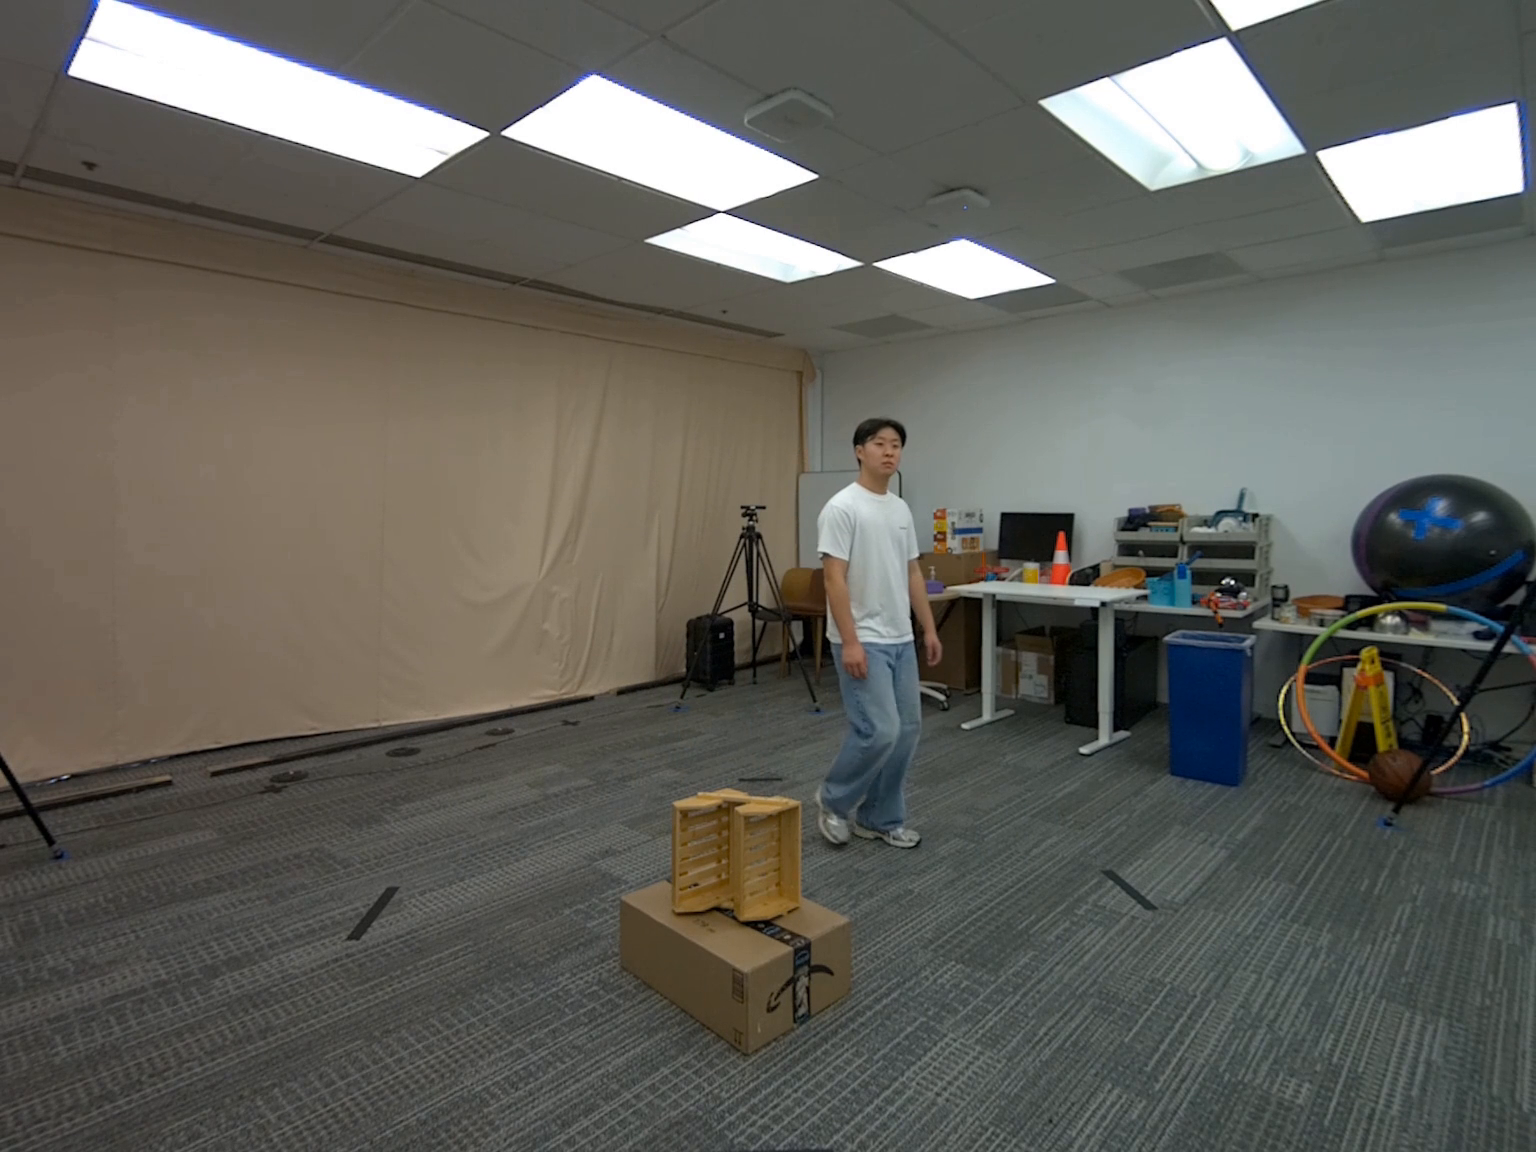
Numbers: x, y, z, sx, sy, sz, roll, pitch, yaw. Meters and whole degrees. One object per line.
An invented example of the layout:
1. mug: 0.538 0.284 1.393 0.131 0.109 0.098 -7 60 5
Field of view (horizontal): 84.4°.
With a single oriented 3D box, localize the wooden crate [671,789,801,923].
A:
1. wooden crate: -0.094 0.814 2.458 0.282 0.325 0.292 -1 -1 44
